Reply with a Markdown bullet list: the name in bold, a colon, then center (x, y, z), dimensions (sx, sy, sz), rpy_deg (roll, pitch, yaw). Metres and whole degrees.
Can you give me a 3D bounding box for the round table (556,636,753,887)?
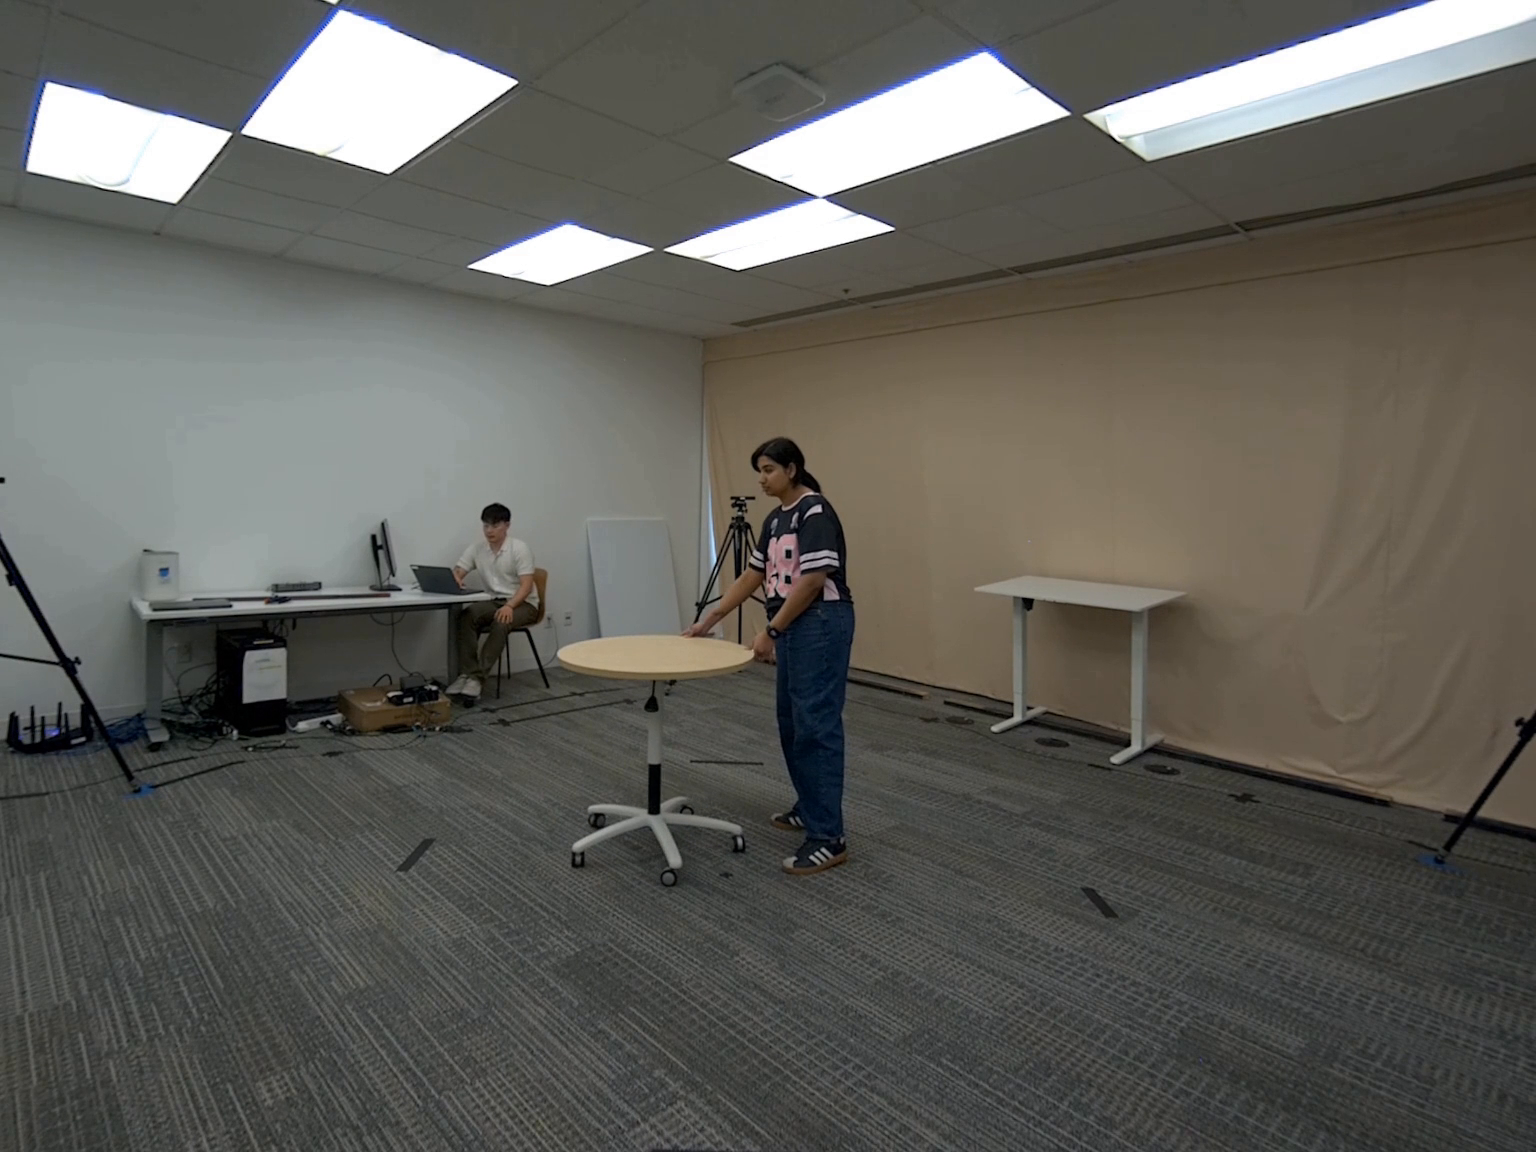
- **round table**: center (-0.450, 0.690, 3.312), dimensions (0.763, 0.792, 0.766), rpy_deg (1, 4, -1)
